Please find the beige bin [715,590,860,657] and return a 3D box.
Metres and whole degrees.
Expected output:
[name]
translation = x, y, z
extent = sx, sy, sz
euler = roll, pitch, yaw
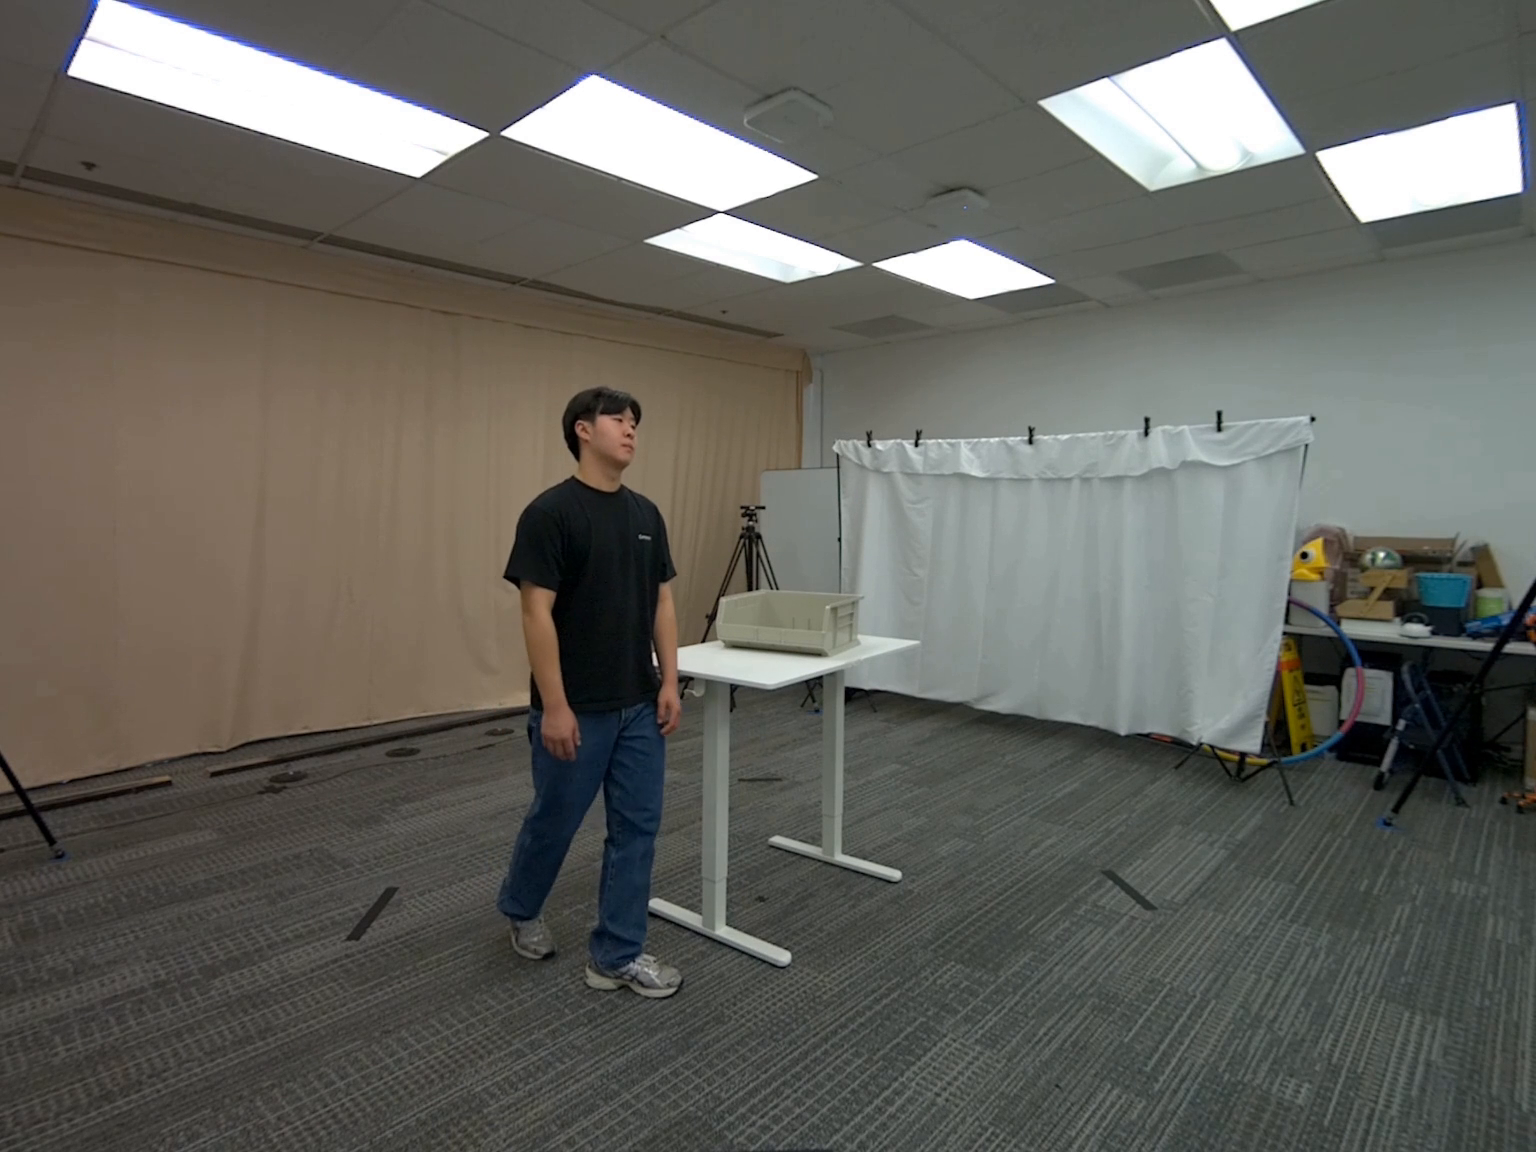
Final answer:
[beige bin]
translation = 0.089, 0.170, 3.050
extent = 0.434, 0.189, 0.368
euler = 2, 3, 27
